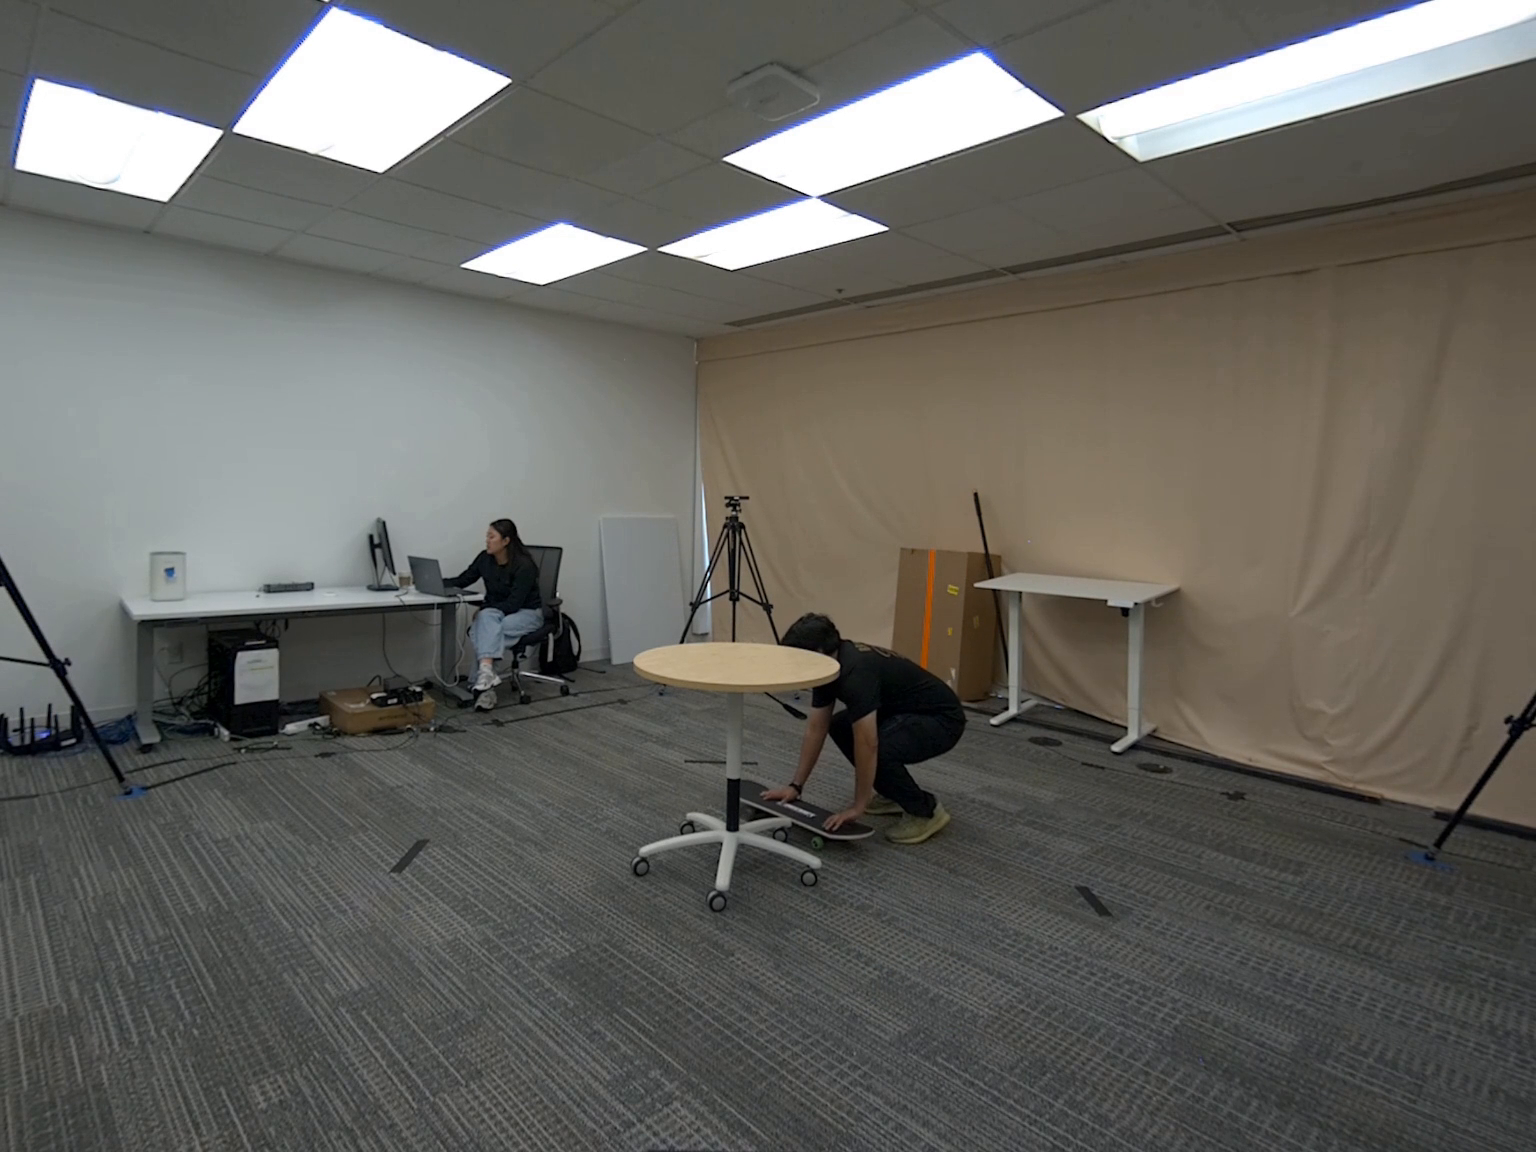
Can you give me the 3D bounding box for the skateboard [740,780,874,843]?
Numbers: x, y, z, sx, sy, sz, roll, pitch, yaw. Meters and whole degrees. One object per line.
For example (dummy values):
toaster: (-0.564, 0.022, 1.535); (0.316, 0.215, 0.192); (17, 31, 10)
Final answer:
skateboard: (0.103, 1.009, 3.539); (0.189, 0.110, 0.806); (-1, 5, -41)
